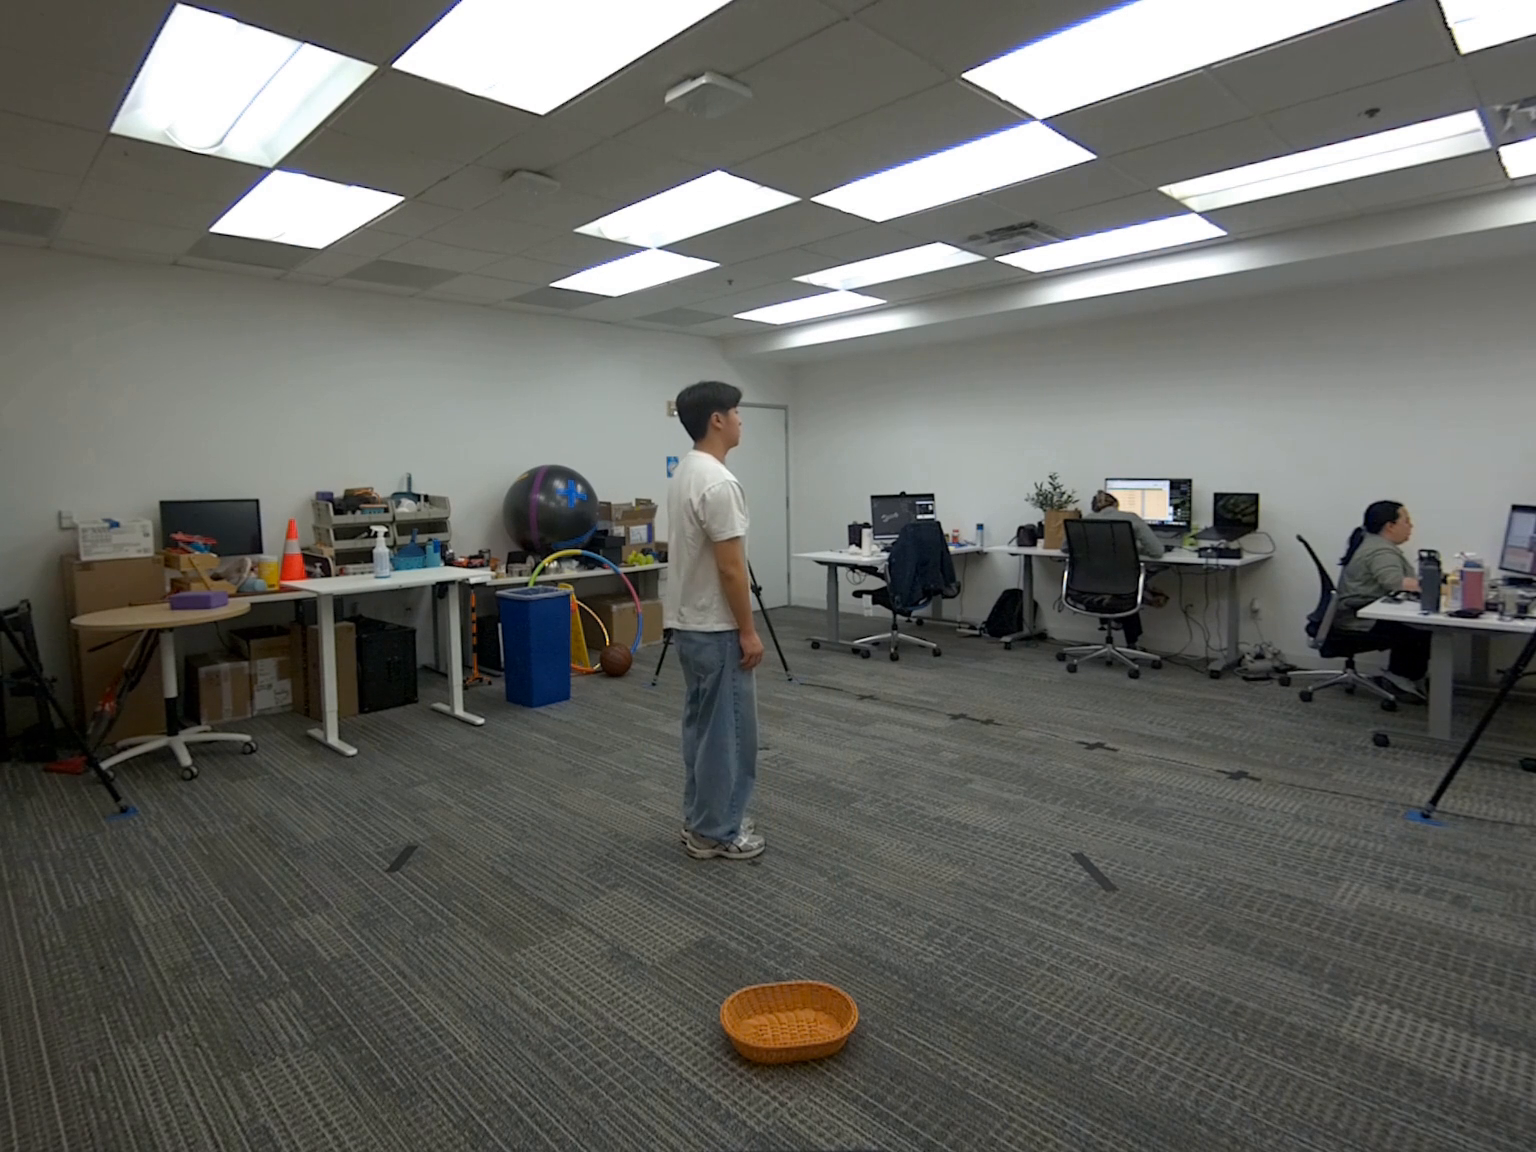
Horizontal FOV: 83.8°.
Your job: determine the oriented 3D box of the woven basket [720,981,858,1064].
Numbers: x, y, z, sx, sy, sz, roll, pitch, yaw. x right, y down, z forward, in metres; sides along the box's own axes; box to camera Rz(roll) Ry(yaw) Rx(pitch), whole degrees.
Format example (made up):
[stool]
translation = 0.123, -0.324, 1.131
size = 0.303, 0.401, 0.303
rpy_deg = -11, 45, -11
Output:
[woven basket]
translation = 0.060, 1.118, 2.135
size = 0.349, 0.073, 0.255
rpy_deg = -2, 7, -4
